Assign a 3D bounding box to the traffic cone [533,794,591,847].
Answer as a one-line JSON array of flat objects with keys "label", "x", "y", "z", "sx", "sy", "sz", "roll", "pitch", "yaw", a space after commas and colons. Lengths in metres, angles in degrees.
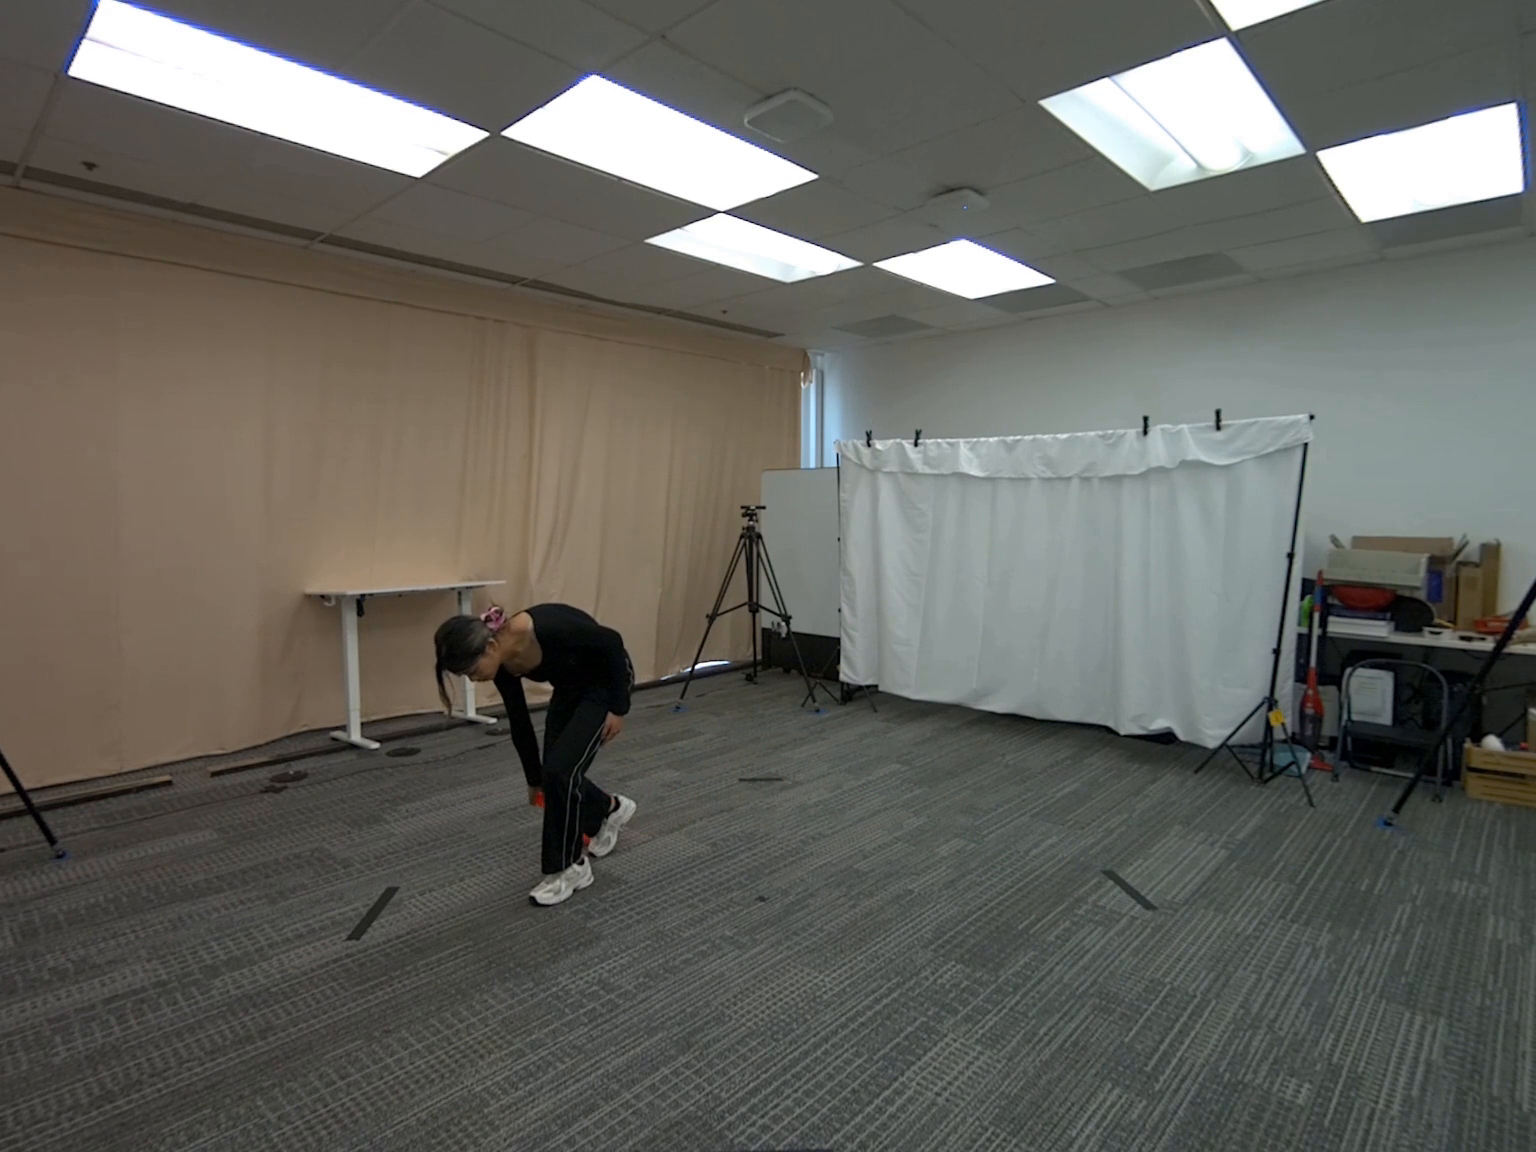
[{"label": "traffic cone", "x": -0.844, "y": 0.939, "z": 3.414, "sx": 0.211, "sy": 0.205, "sz": 0.370, "roll": -1, "pitch": -28, "yaw": 30}]
